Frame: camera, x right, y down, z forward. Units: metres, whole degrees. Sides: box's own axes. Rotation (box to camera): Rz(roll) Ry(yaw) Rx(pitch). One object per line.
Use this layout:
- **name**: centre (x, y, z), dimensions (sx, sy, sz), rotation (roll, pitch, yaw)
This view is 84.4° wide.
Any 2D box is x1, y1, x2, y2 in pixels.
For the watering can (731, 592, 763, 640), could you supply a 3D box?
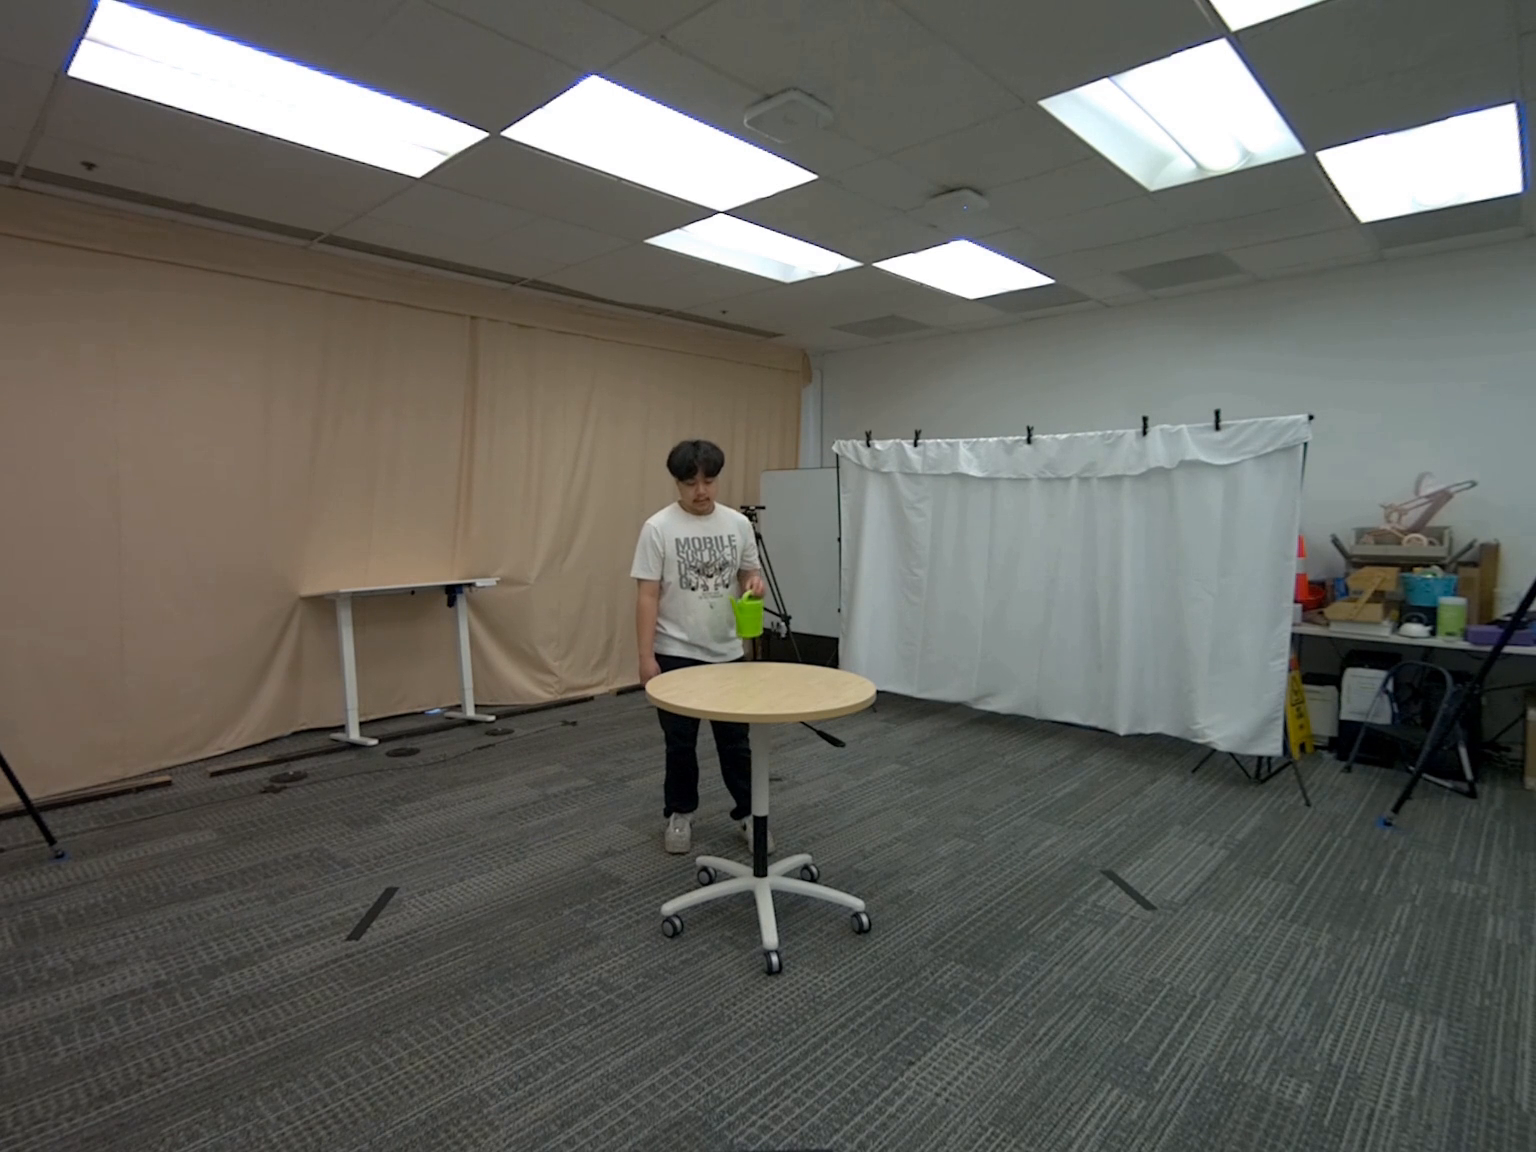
- **watering can**: centre (-0.093, 0.144, 3.219), dimensions (0.101, 0.176, 0.270), rotation (10, 10, 40)
